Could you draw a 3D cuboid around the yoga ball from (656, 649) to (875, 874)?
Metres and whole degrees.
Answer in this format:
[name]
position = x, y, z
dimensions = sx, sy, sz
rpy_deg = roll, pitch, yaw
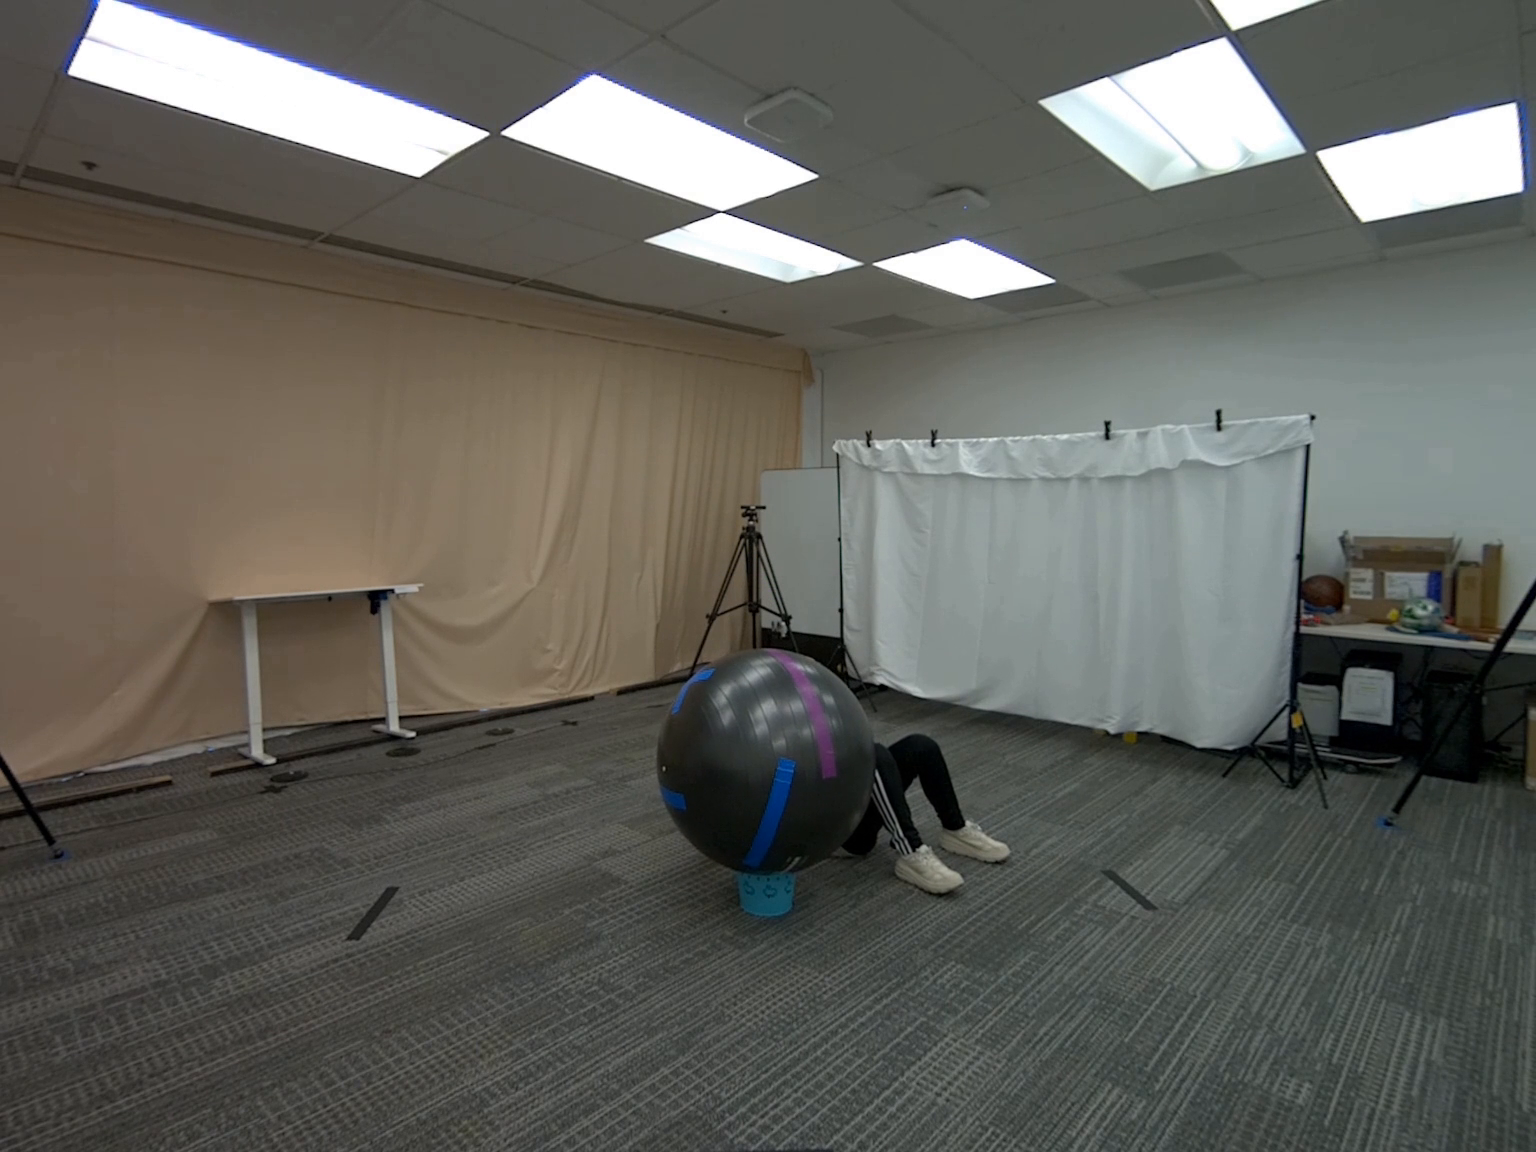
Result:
[yoga ball]
position = -0.005, 0.634, 2.922
dimensions = 0.757, 0.756, 0.760
rpy_deg = 0, 4, -2
